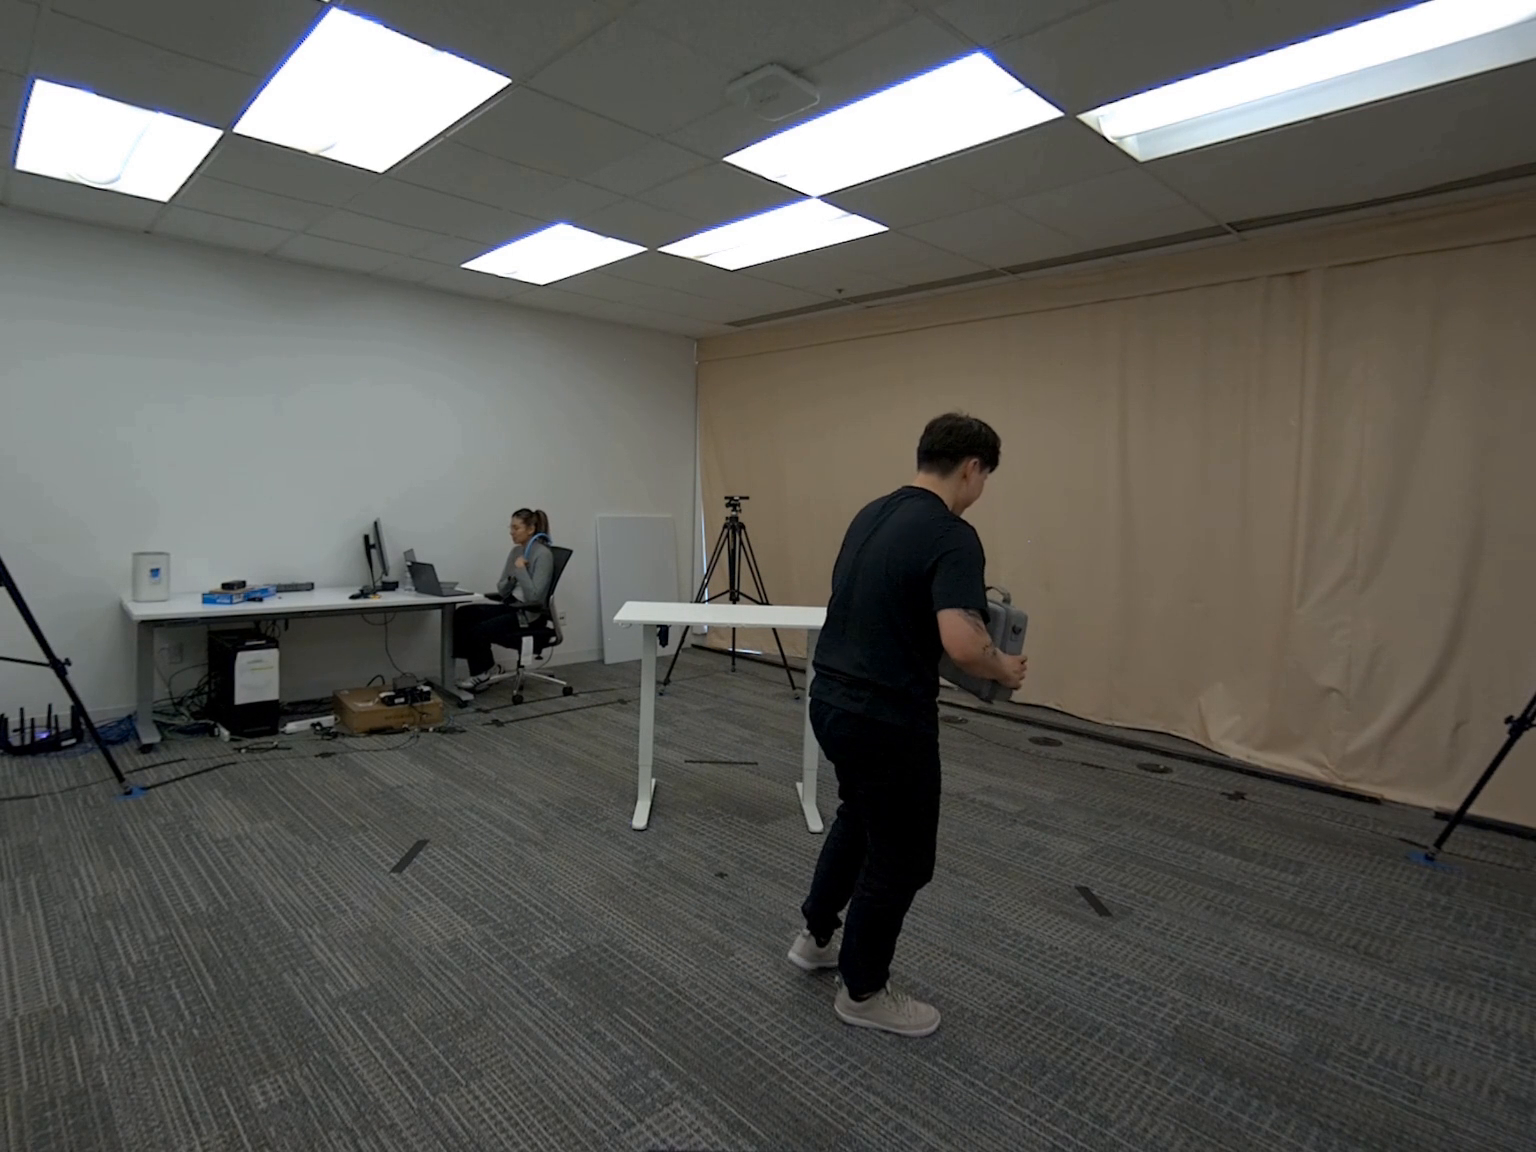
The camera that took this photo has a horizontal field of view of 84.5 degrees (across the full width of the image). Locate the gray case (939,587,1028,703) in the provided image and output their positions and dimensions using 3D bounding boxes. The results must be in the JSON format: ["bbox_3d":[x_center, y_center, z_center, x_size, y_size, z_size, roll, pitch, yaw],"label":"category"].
[{"bbox_3d":[0.575,0.191,2.280,0.102,0.260,0.262,9,5,-21],"label":"gray case"}]
